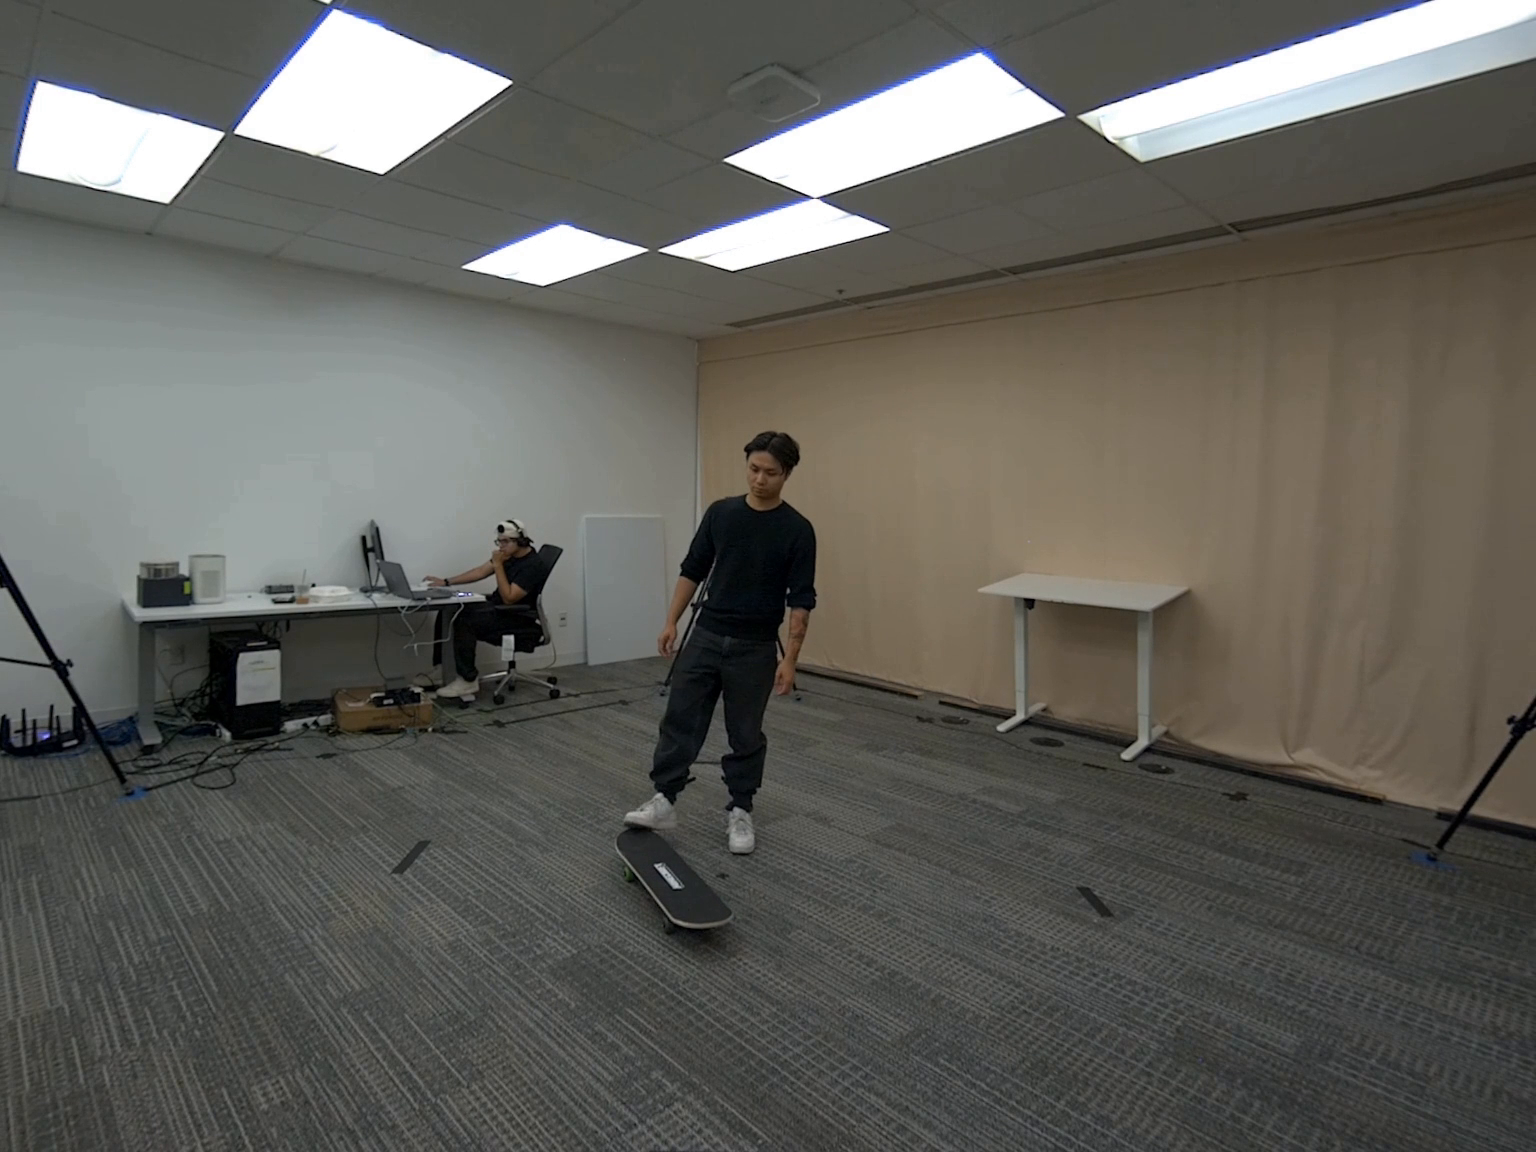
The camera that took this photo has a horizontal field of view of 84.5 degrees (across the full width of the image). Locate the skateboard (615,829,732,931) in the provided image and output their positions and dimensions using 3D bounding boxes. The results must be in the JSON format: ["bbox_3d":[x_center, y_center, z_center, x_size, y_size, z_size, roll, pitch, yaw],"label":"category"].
[{"bbox_3d":[-0.344,1.066,2.895,0.190,0.110,0.802,-1,6,-27],"label":"skateboard"}]
